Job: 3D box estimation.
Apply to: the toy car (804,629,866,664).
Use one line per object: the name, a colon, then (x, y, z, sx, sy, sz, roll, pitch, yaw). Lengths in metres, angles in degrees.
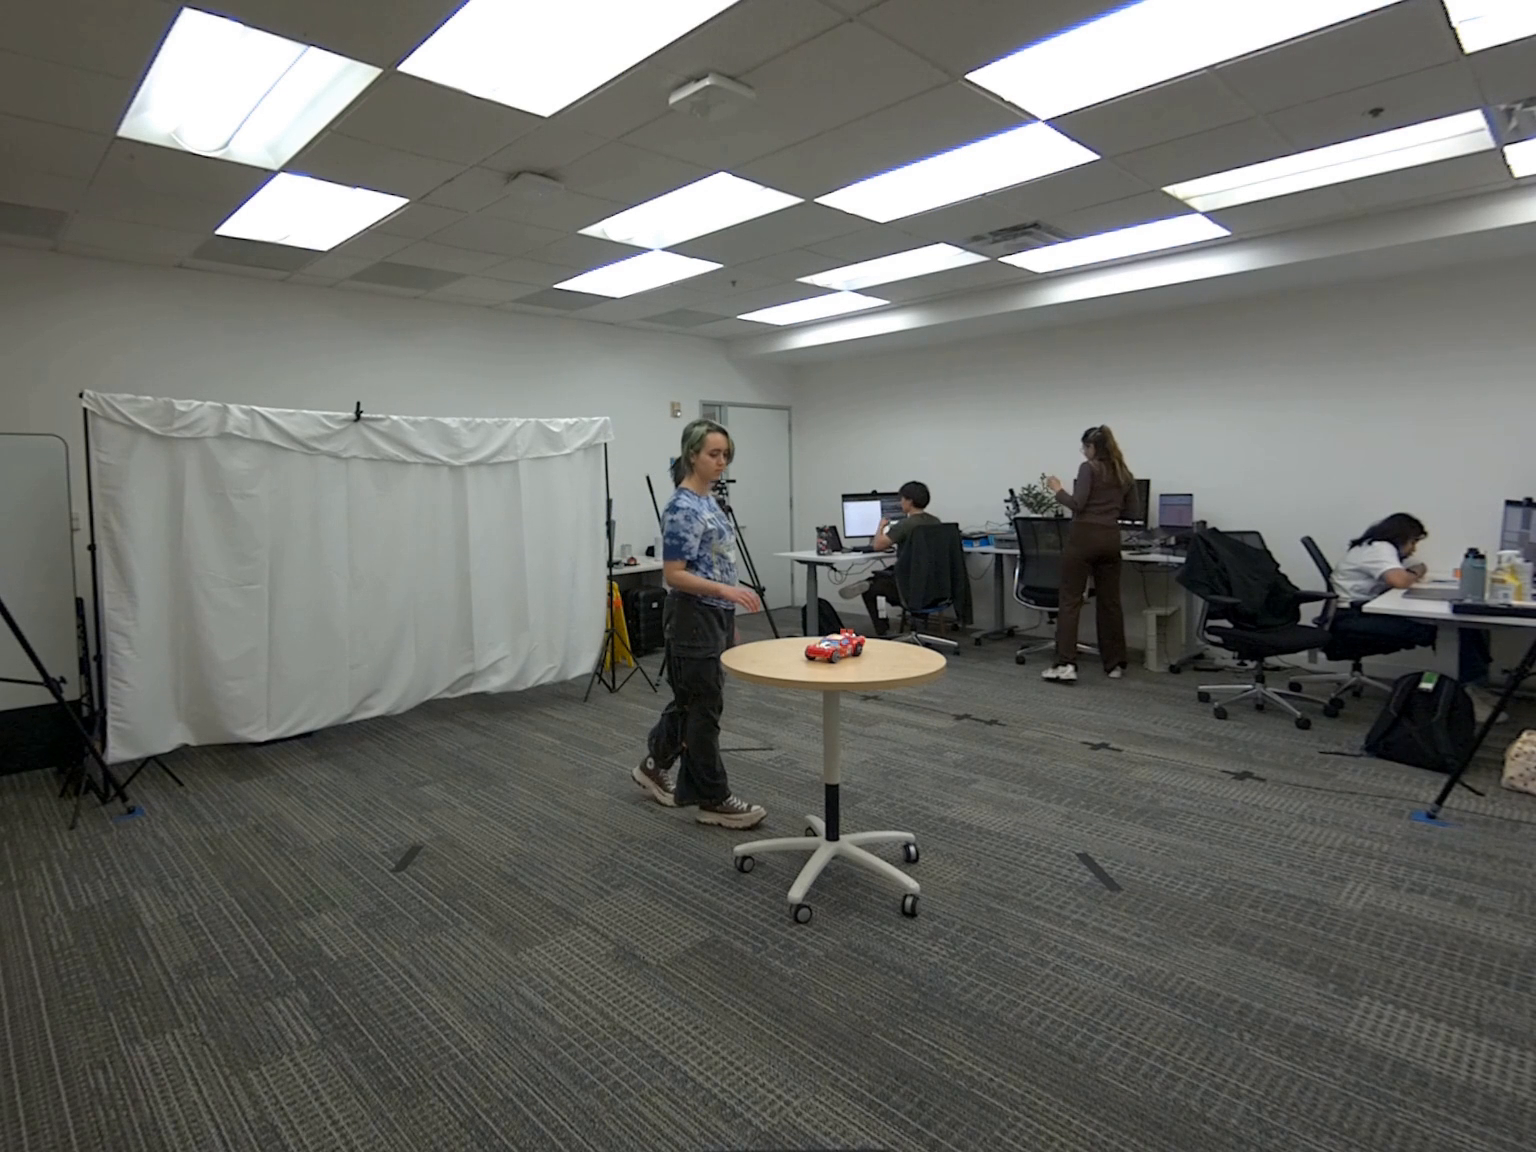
toy car: (0.244, 0.246, 2.934, 0.134, 0.082, 0.250, 3, 18, 39)
